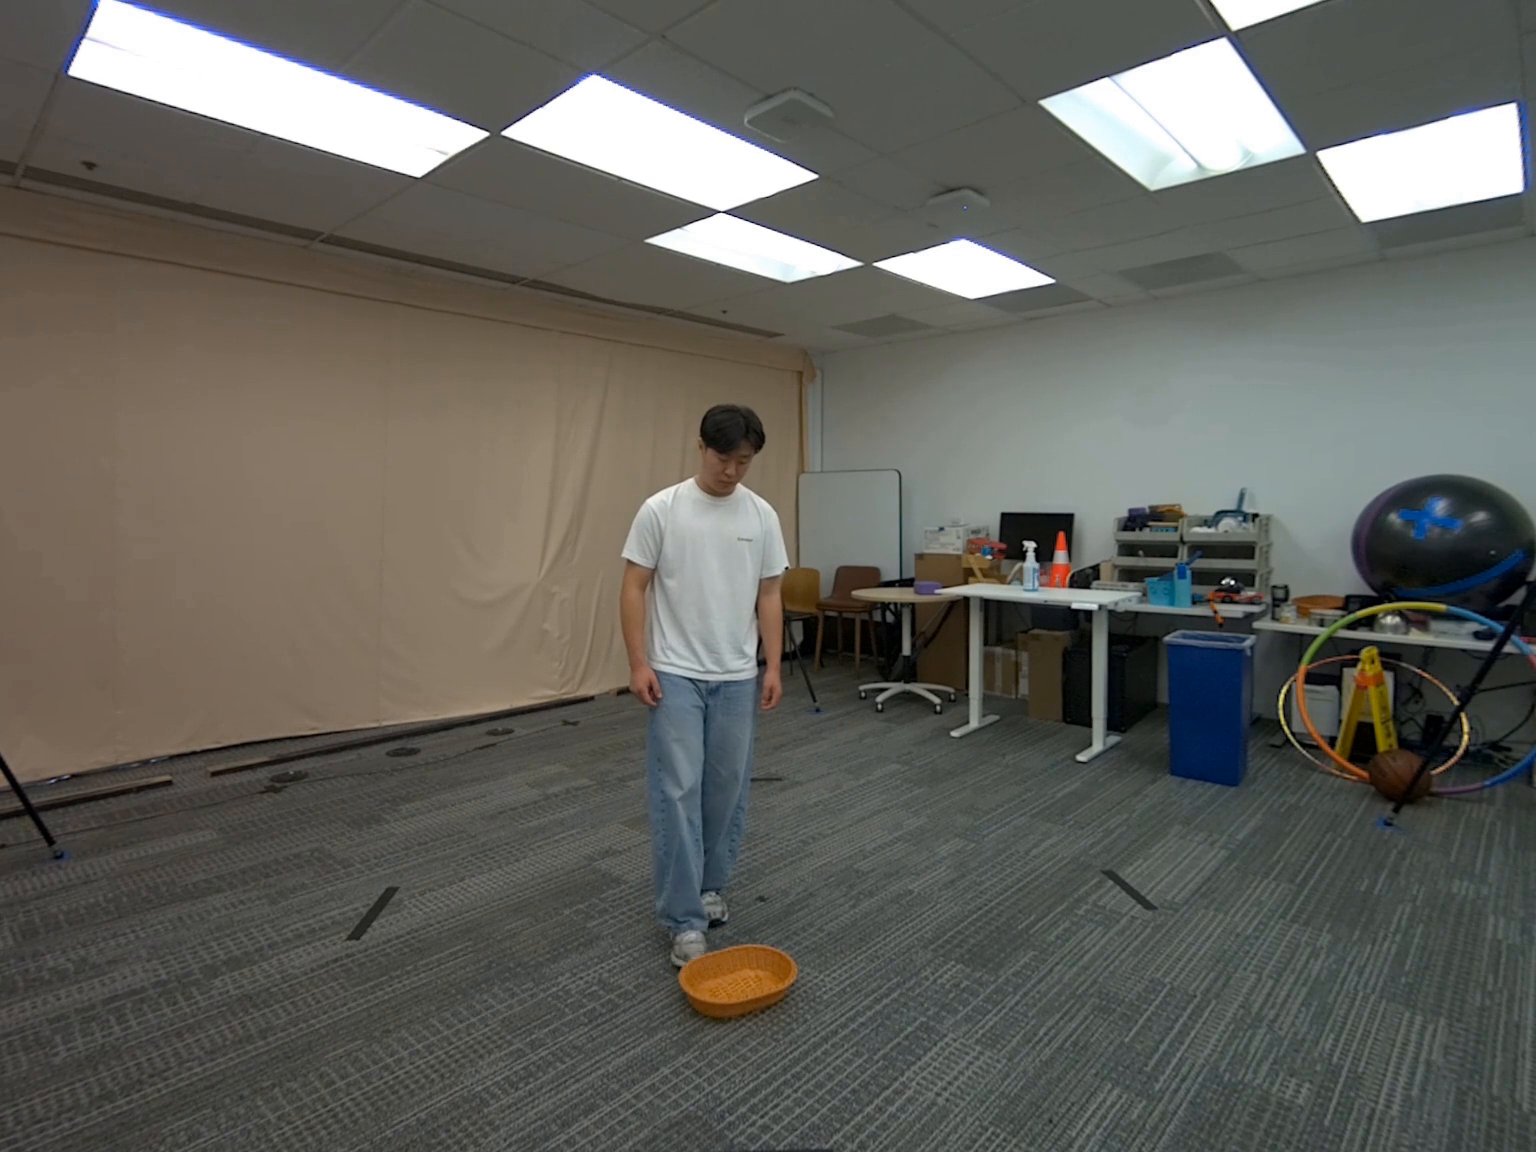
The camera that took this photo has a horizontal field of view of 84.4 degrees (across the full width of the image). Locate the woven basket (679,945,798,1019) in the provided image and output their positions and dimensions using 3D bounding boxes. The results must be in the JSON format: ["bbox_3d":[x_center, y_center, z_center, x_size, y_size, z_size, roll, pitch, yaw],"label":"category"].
[{"bbox_3d":[-0.080,1.153,2.392,0.342,0.073,0.259,-2,7,-27],"label":"woven basket"}]
